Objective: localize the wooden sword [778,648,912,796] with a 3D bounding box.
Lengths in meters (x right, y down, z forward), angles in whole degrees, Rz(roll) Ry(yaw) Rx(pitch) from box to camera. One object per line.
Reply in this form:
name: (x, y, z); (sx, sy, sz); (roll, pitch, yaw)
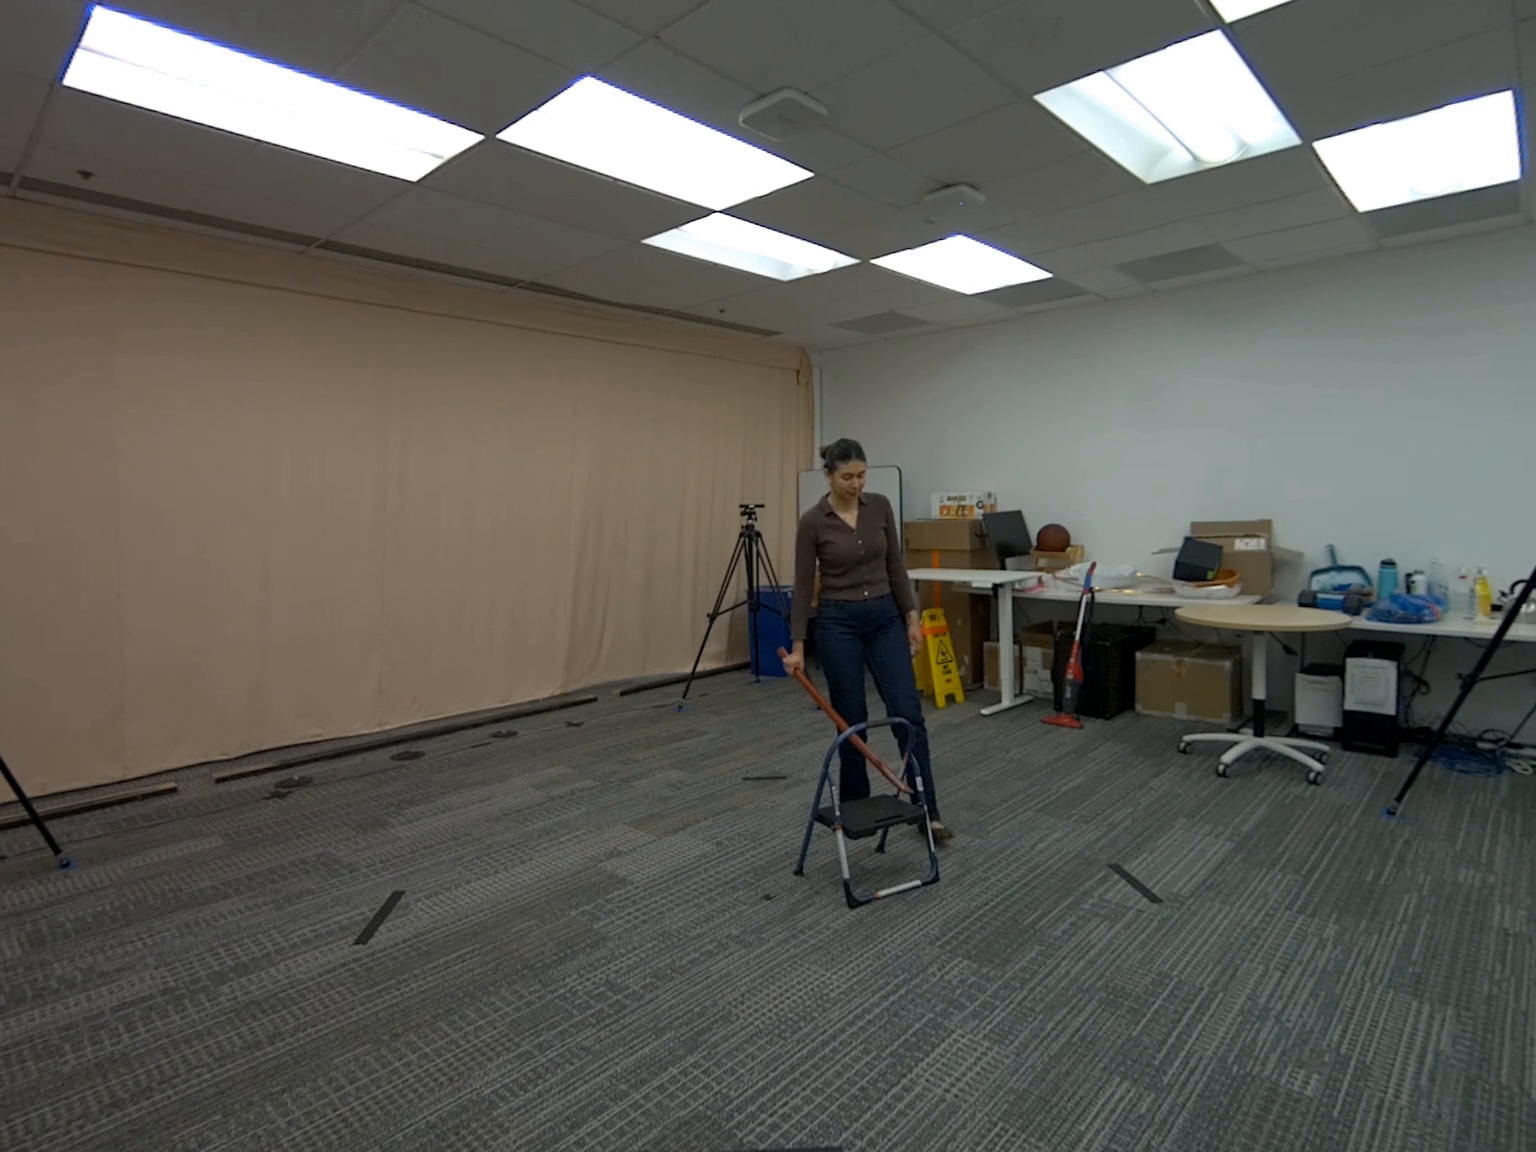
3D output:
wooden sword: (0.264, 0.512, 3.309); (0.023, 0.051, 1.057); (36, 5, -31)
